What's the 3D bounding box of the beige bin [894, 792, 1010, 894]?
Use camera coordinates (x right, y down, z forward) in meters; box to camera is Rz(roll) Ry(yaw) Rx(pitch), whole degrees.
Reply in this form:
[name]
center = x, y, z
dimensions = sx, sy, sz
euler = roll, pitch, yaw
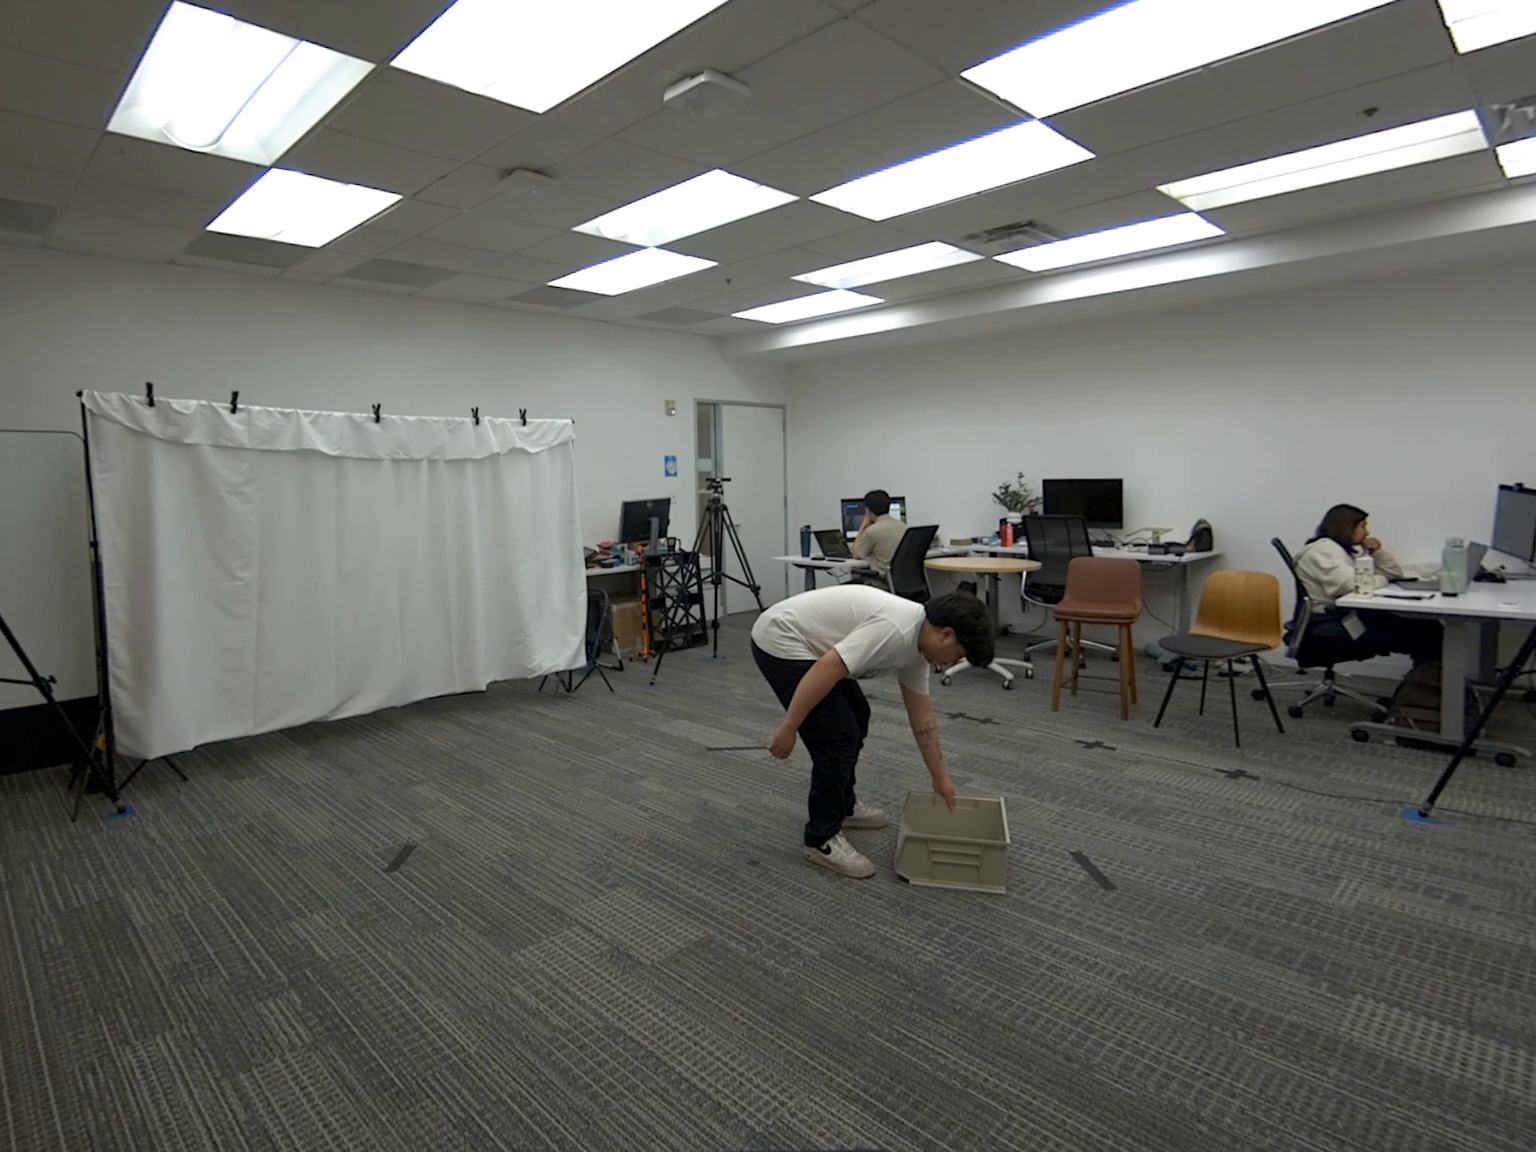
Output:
[beige bin]
center = 0.657, 0.942, 3.074
dimensions = 0.383, 0.188, 0.418
euler = 1, 6, 13
